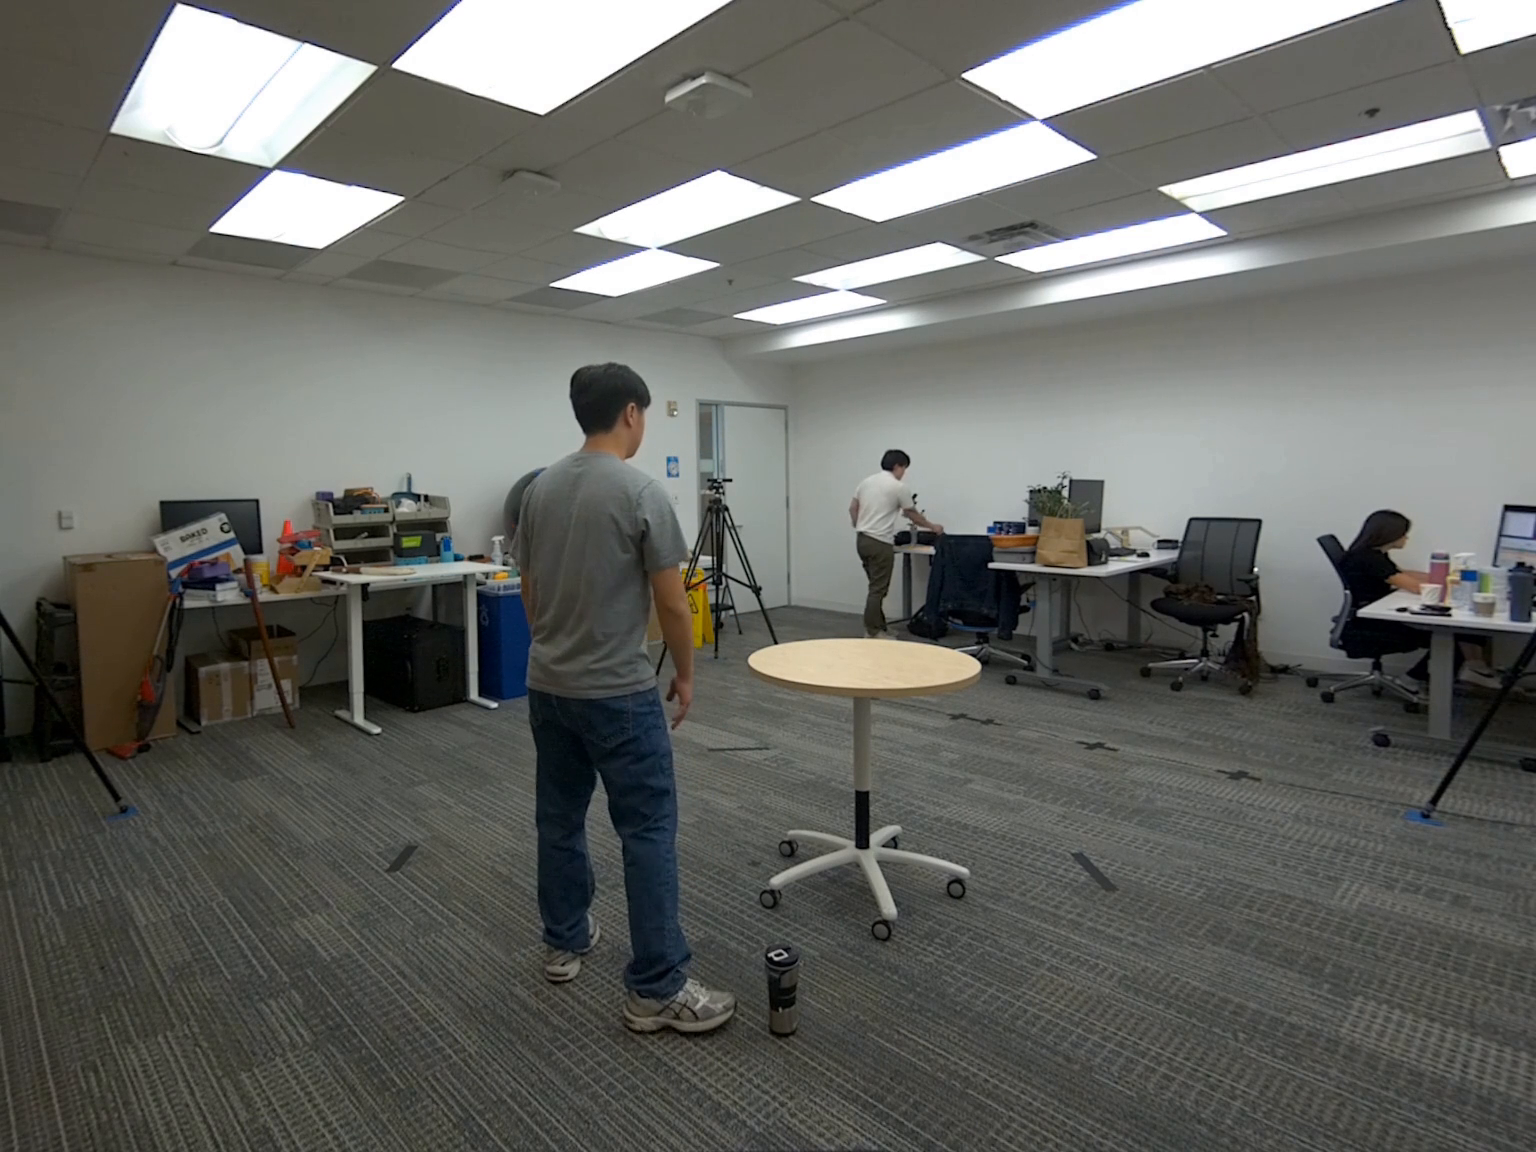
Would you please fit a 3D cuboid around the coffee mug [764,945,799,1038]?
[{"bbox_3d":[0.013,1.053,2.154,0.118,0.202,0.091,-2,7,-42],"label":"coffee mug"}]
